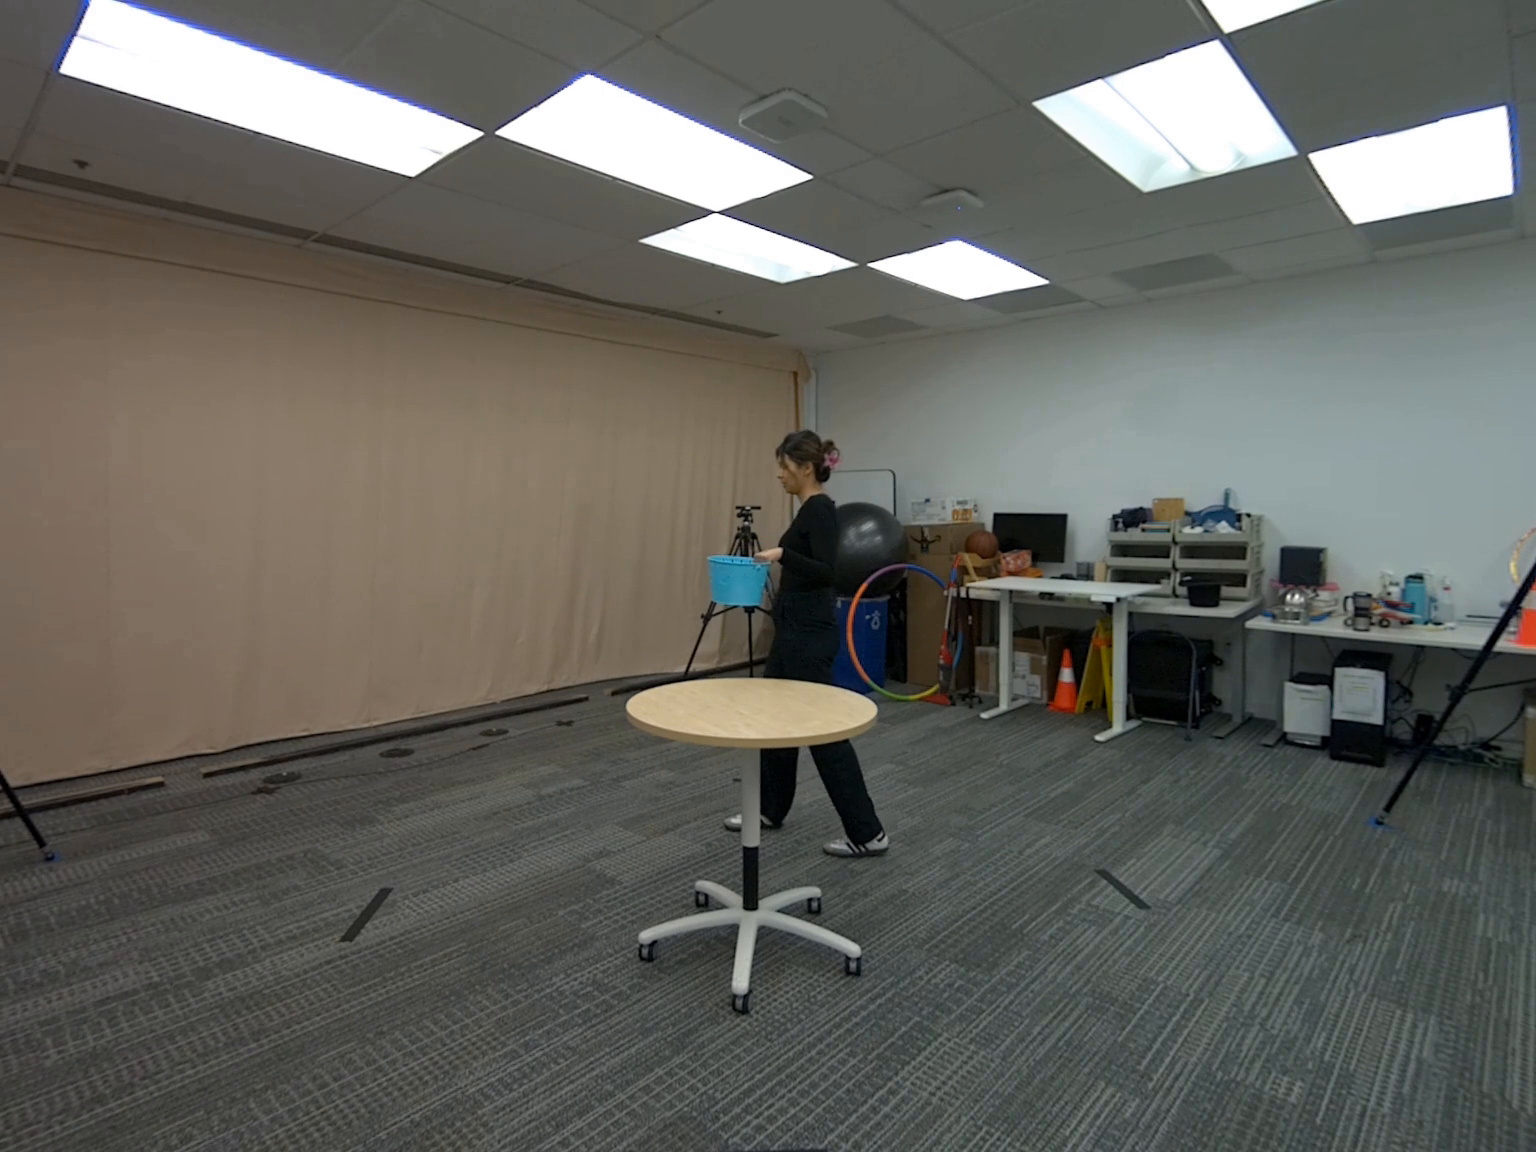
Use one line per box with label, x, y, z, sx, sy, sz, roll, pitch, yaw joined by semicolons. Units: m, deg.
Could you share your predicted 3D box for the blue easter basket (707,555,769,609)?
blue easter basket;-0.087;0.020;3.053;0.243;0.155;0.245;4;6;-2
